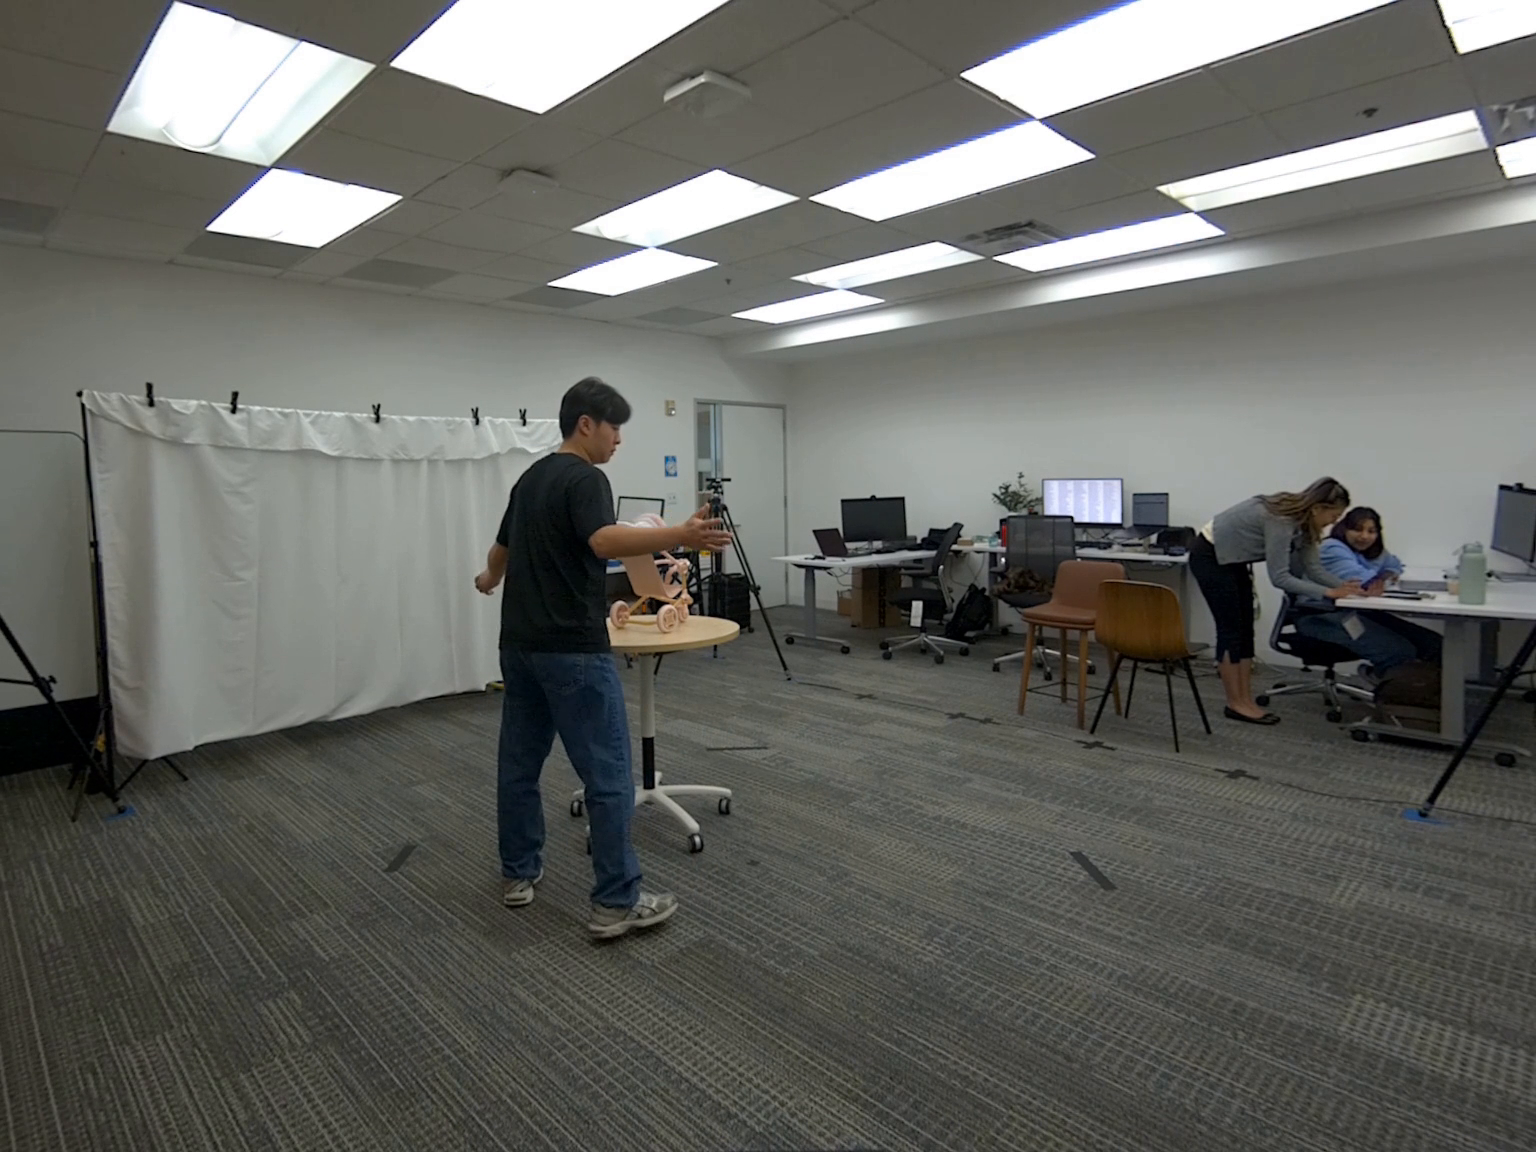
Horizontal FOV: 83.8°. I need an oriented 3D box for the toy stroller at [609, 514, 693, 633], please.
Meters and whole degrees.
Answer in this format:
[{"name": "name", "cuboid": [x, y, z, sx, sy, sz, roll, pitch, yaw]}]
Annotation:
[{"name": "toy stroller", "cuboid": [-0.461, -0.013, 3.462, 0.290, 0.527, 0.336, 2, 19, 38]}]
